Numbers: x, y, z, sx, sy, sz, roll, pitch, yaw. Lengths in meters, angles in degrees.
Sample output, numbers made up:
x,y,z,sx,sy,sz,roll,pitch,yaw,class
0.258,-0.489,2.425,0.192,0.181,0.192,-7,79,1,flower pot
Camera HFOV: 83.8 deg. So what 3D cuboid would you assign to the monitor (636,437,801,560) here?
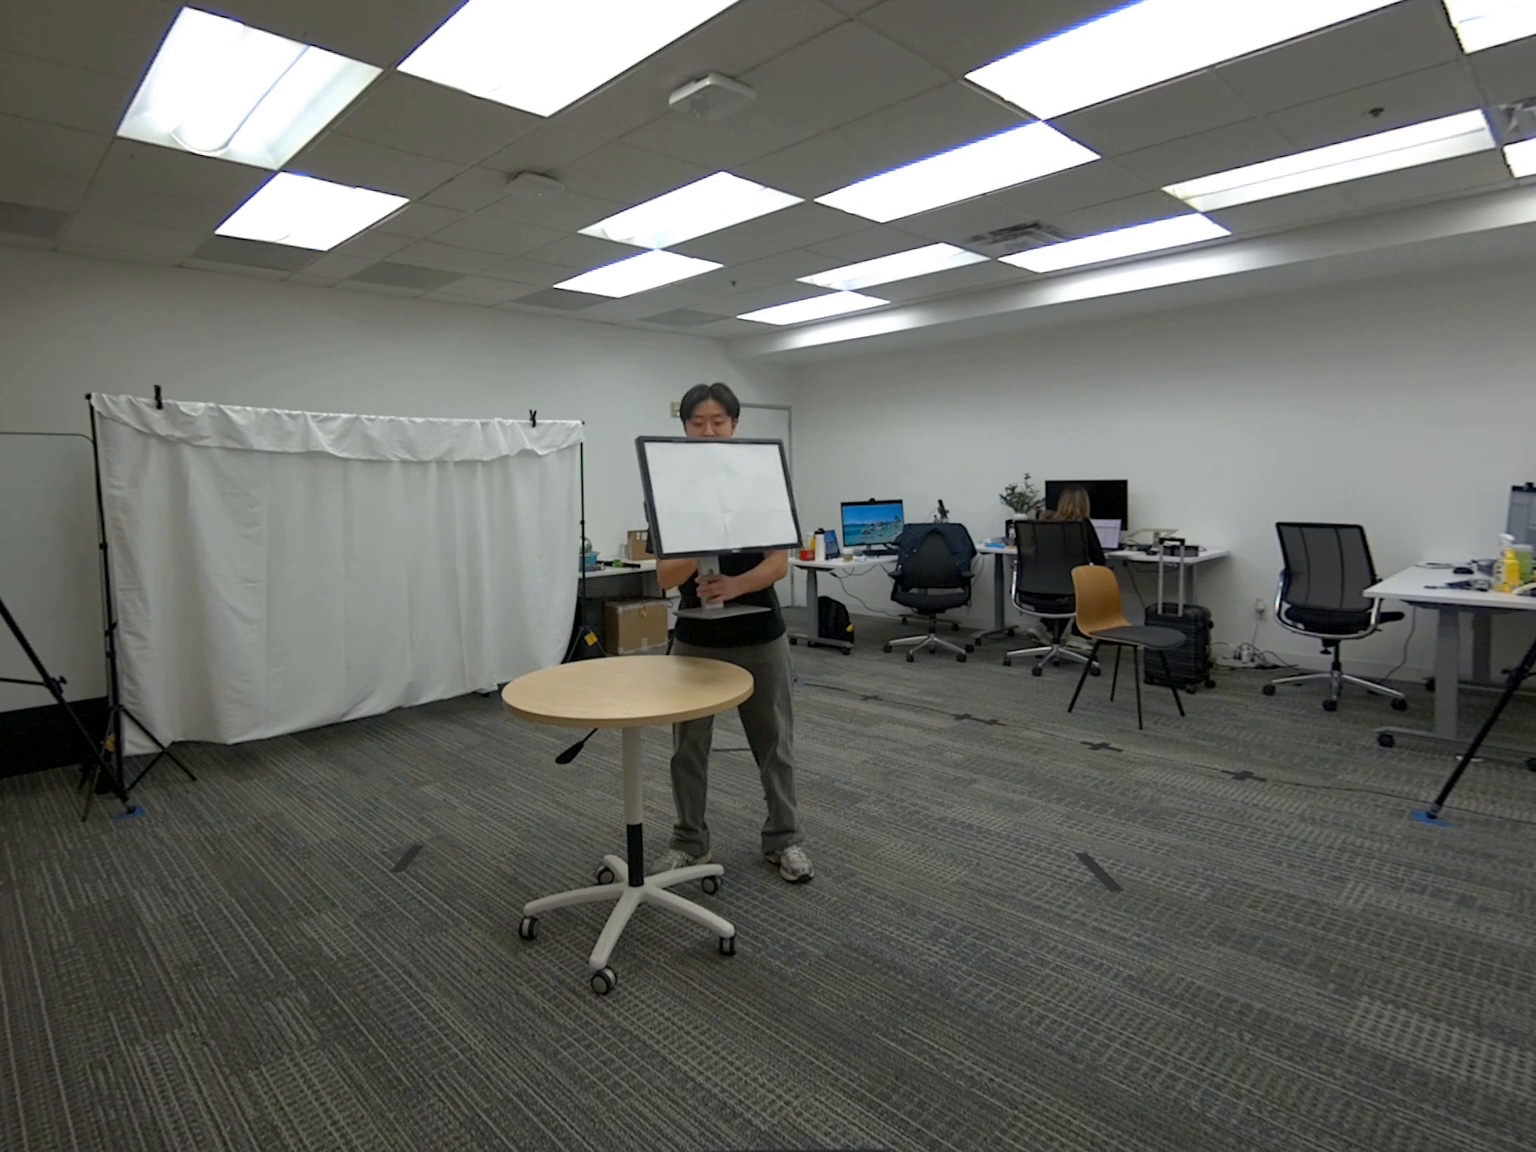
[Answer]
x,y,z,sx,sy,sz,roll,pitch,yaw,class
-0.157,-0.138,2.628,0.547,0.564,0.229,-5,6,-37,monitor
